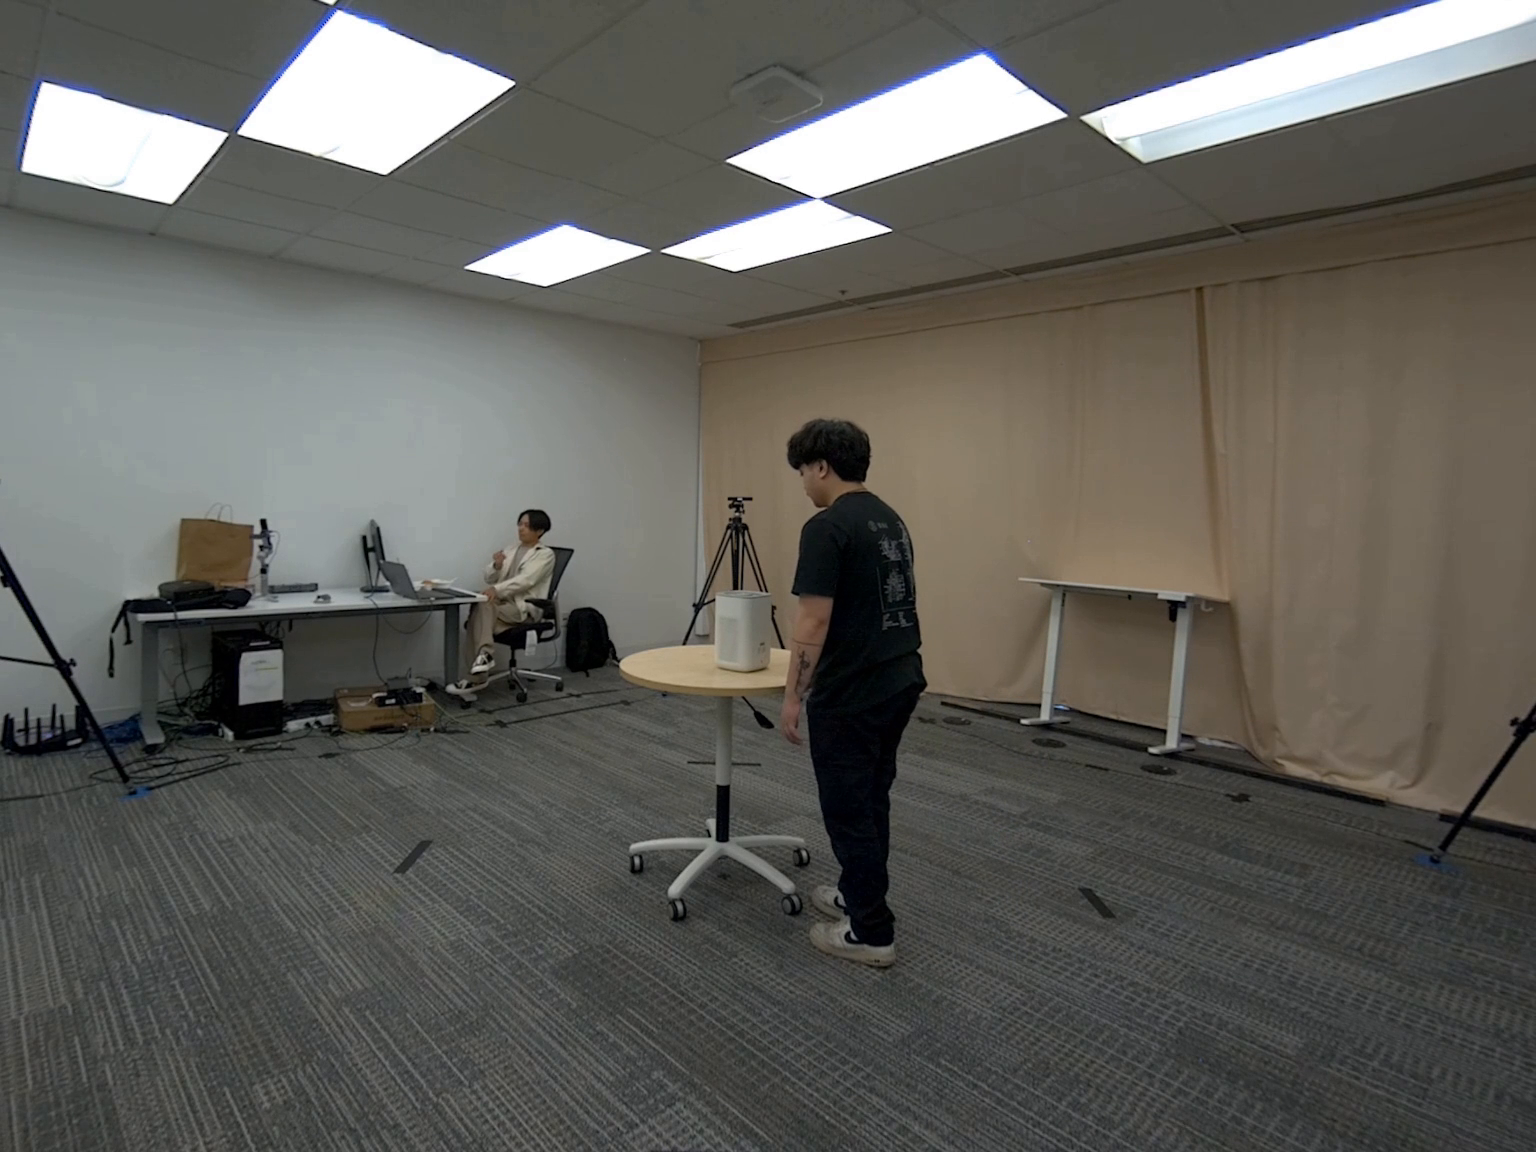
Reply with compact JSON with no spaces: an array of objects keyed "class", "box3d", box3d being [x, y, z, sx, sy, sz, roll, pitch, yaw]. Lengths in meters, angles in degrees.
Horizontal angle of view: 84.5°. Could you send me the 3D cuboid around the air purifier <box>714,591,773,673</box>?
[{"class":"air purifier","box3d":[-0.090,0.192,2.978,0.175,0.265,0.167,3,4,34]}]
